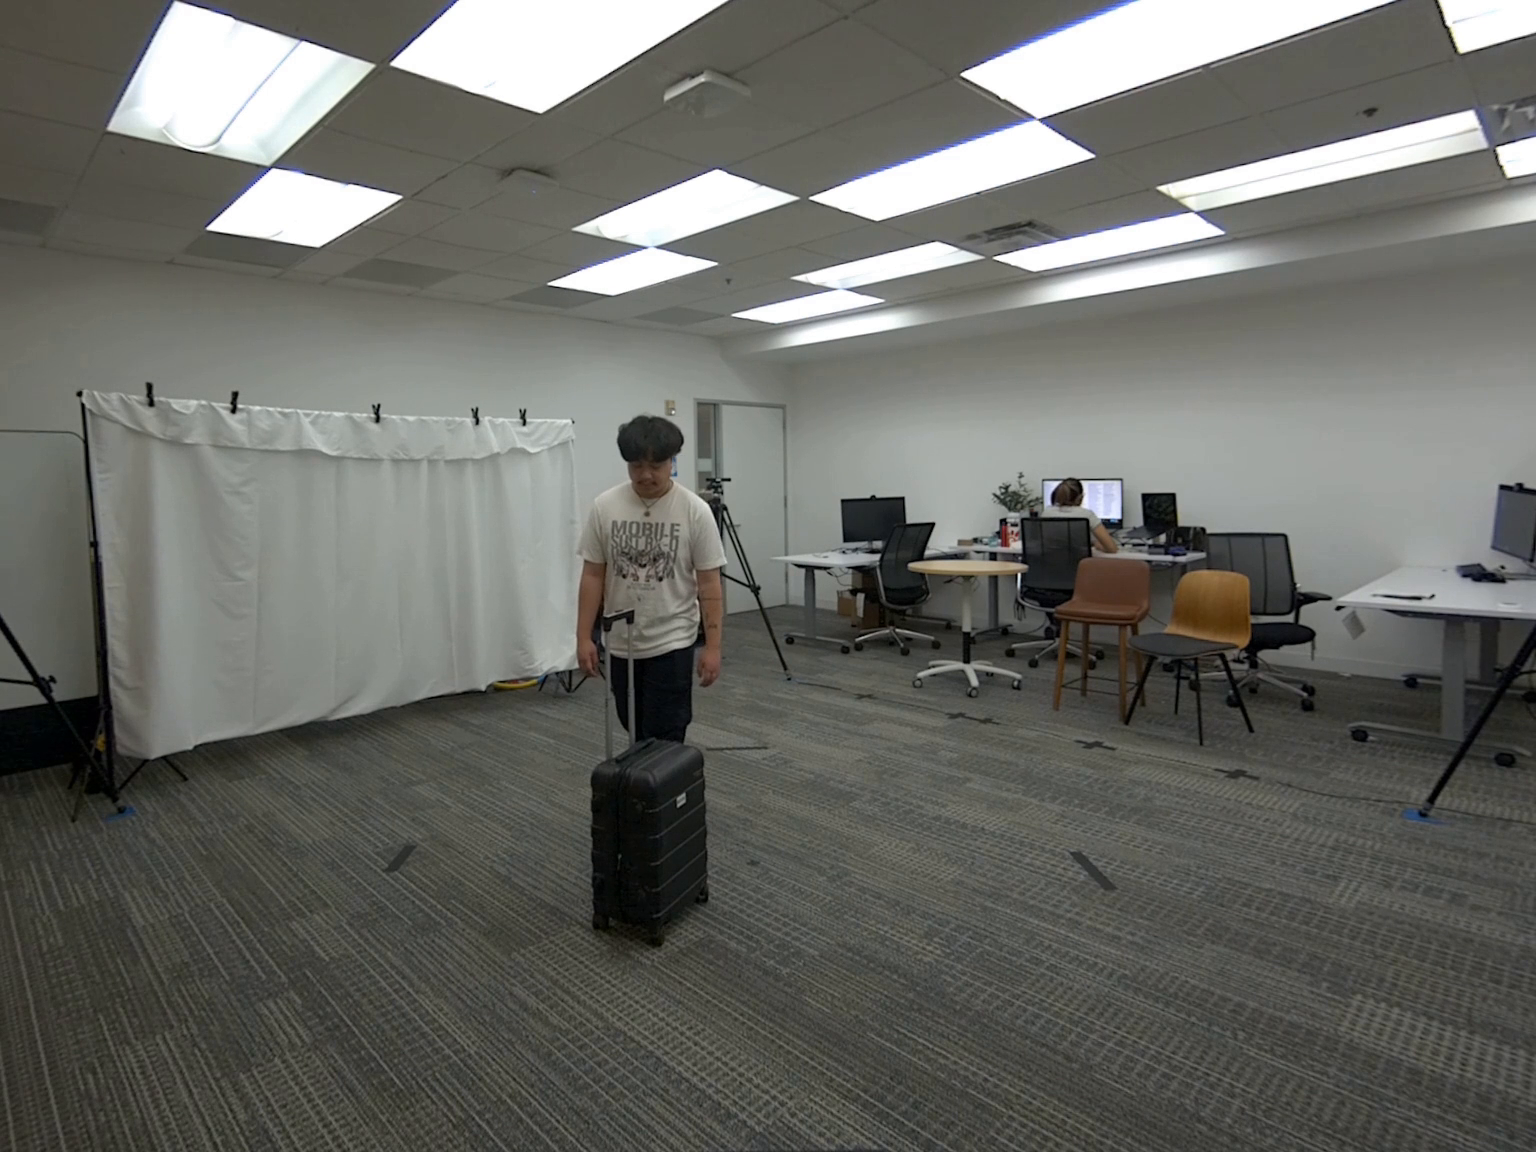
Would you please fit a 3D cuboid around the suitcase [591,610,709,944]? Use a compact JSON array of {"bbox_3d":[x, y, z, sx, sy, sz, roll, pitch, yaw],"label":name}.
[{"bbox_3d":[-0.363,0.625,2.692,0.263,0.972,0.377,5,8,26],"label":"suitcase"}]
